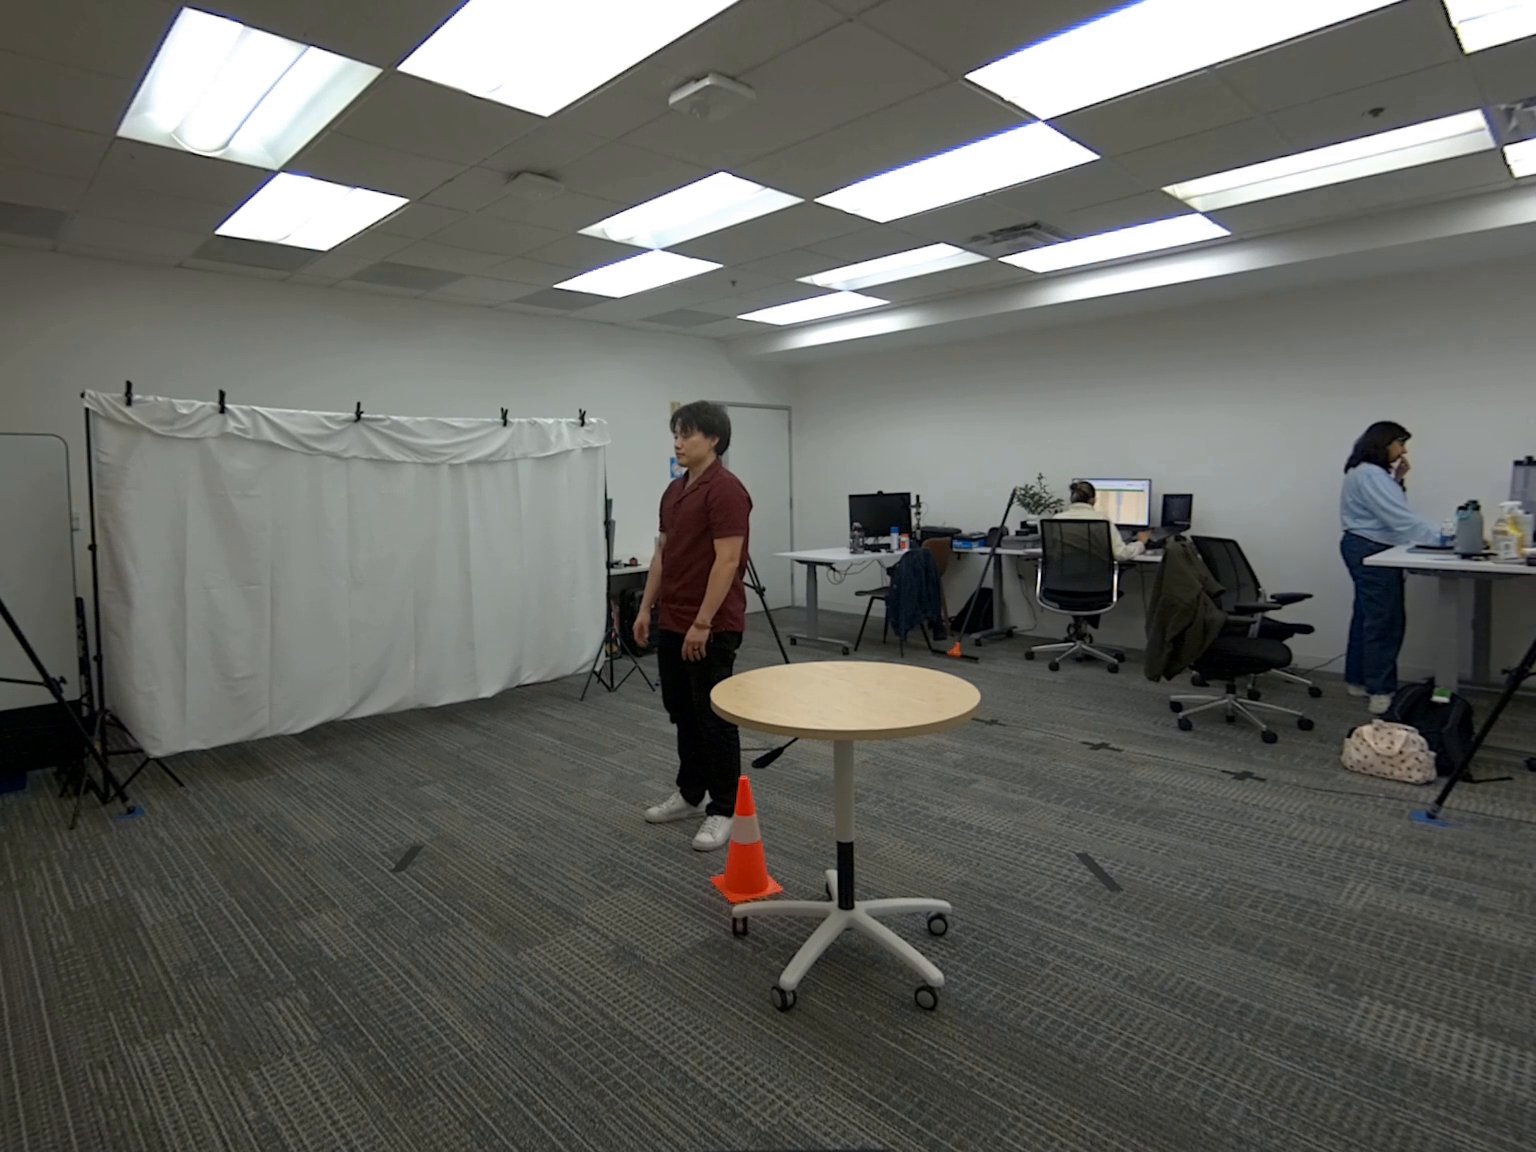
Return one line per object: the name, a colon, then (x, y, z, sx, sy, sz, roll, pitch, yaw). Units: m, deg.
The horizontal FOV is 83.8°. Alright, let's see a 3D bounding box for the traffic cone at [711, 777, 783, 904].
traffic cone: (-0.080, 0.888, 2.932, 0.201, 0.382, 0.208, -3, 6, -22)
